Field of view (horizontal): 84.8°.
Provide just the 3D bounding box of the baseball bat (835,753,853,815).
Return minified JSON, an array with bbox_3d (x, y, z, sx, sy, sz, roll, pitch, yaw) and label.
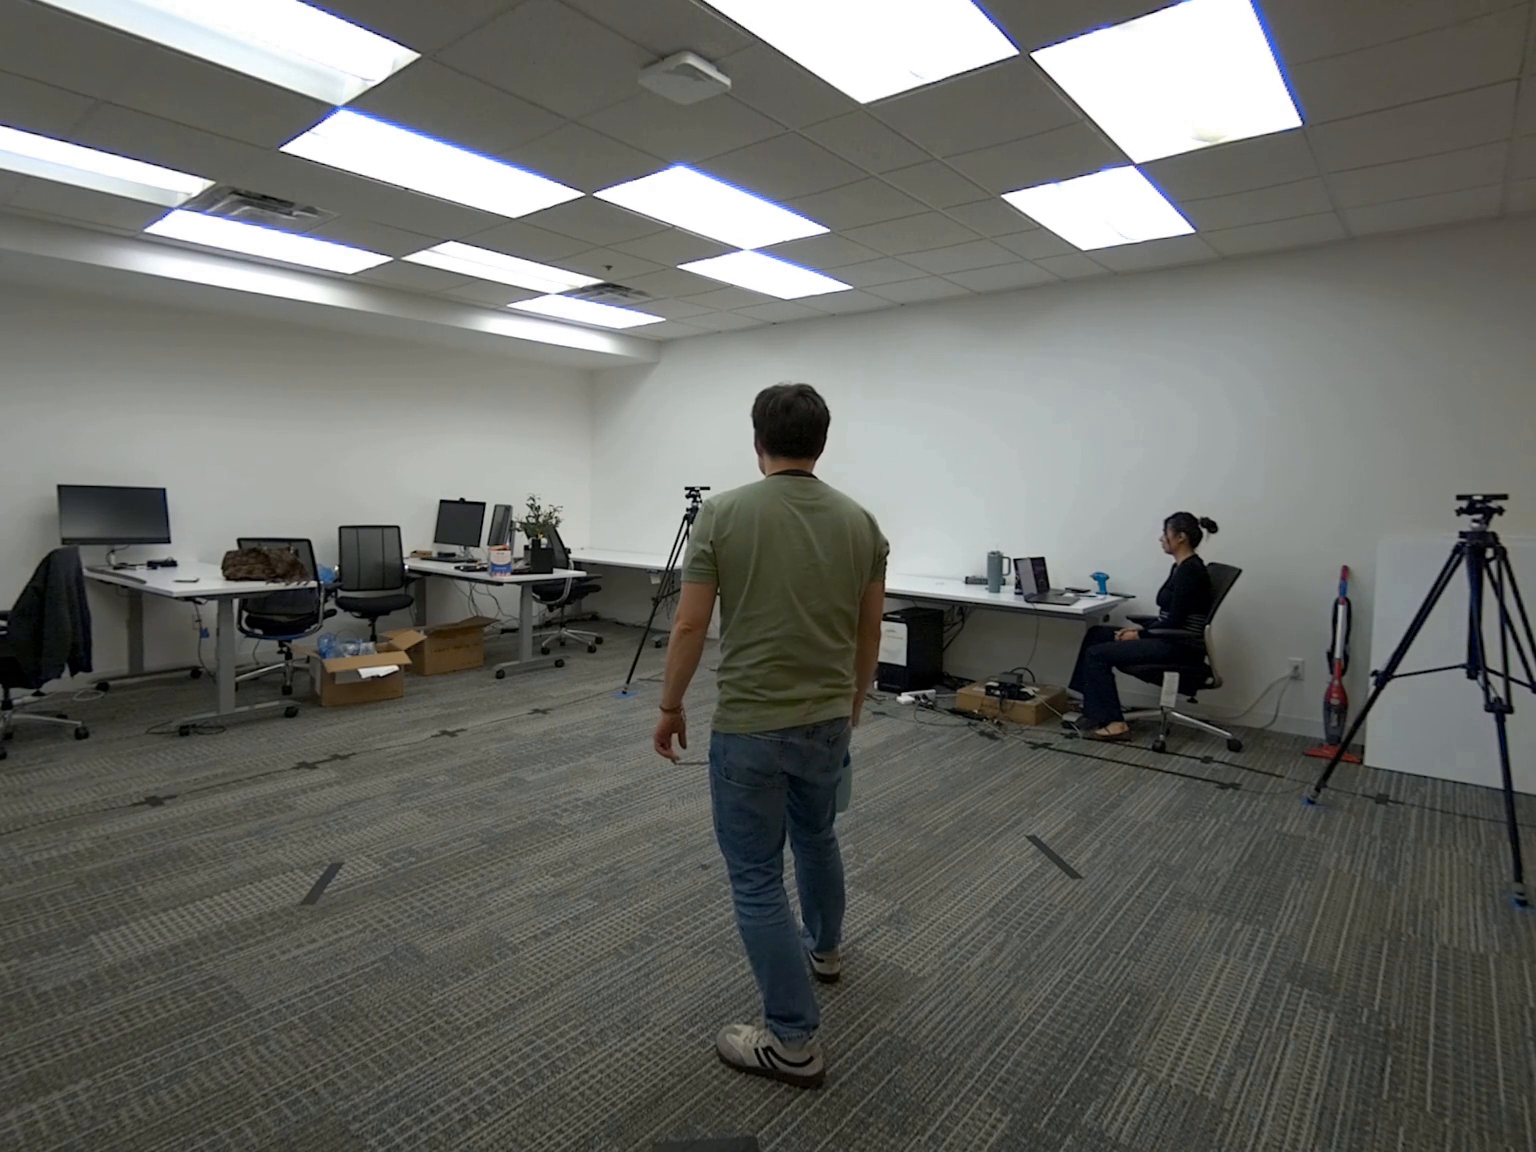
[{"bbox_3d":[0.201,0.510,2.497,0.089,0.526,0.092,-2,45,0],"label":"baseball bat"}]
